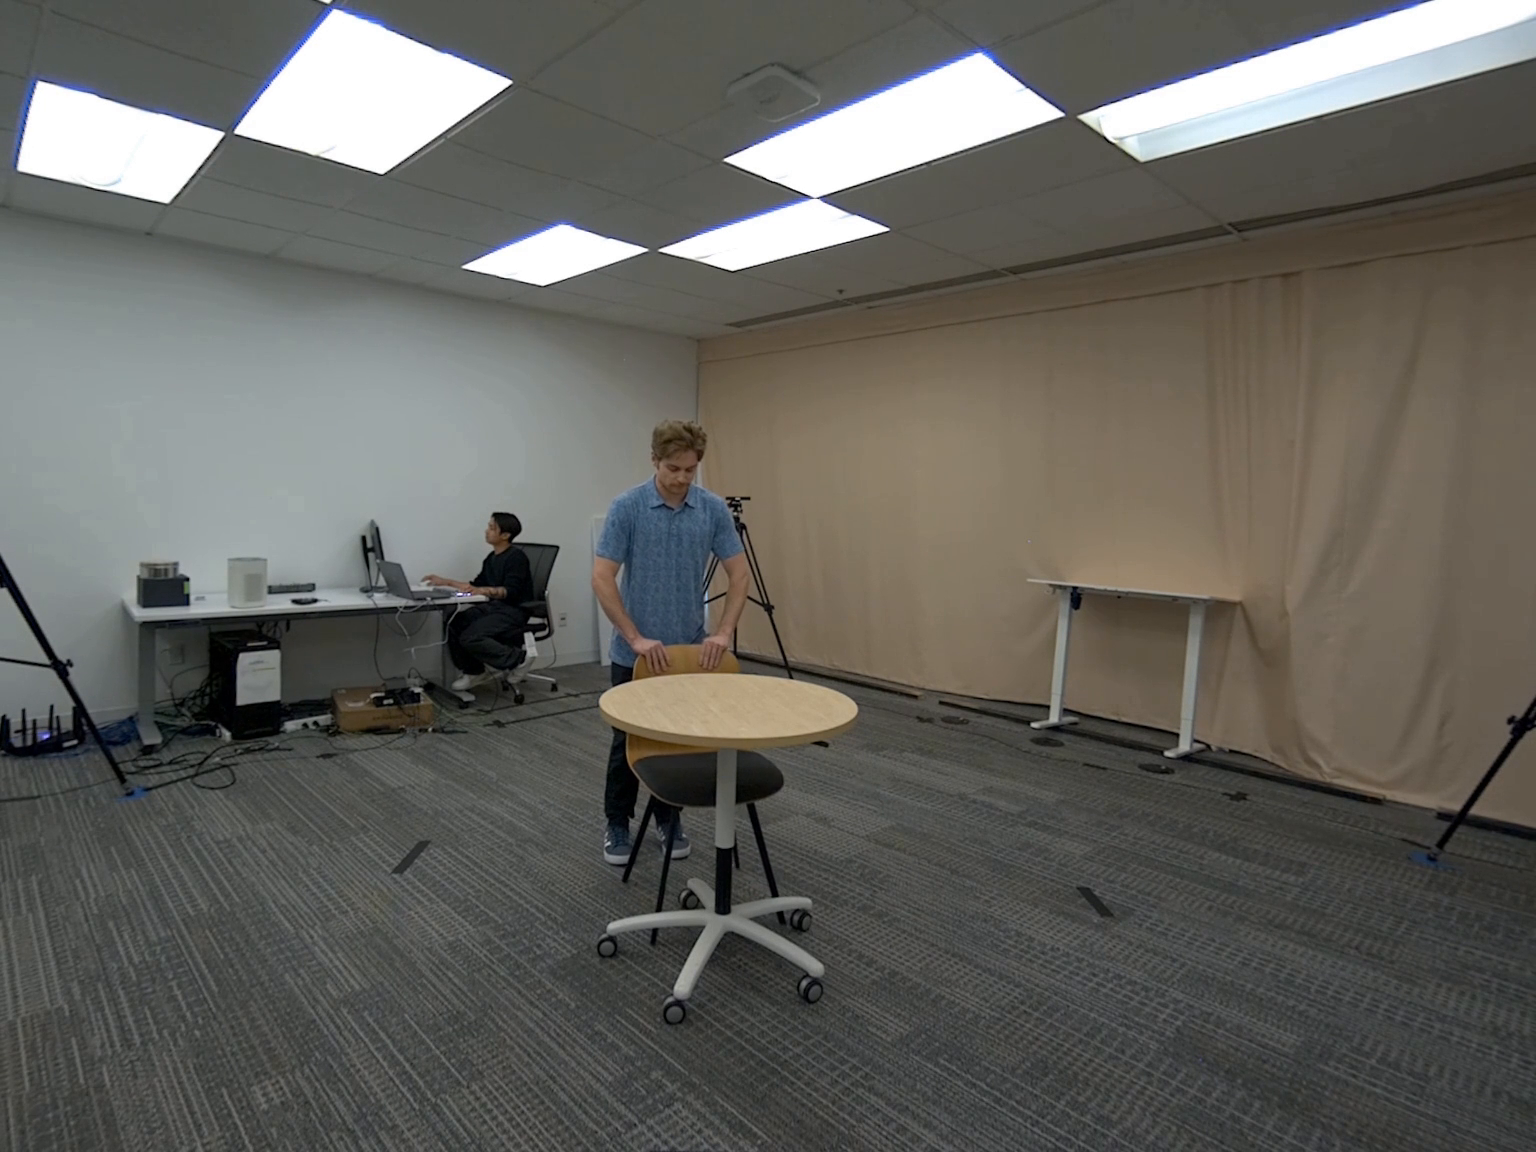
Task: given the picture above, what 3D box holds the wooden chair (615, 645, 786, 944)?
[{"bbox_3d":[-0.229,0.699,2.855,0.471,0.877,0.531,0,0,-20],"label":"wooden chair"}]
